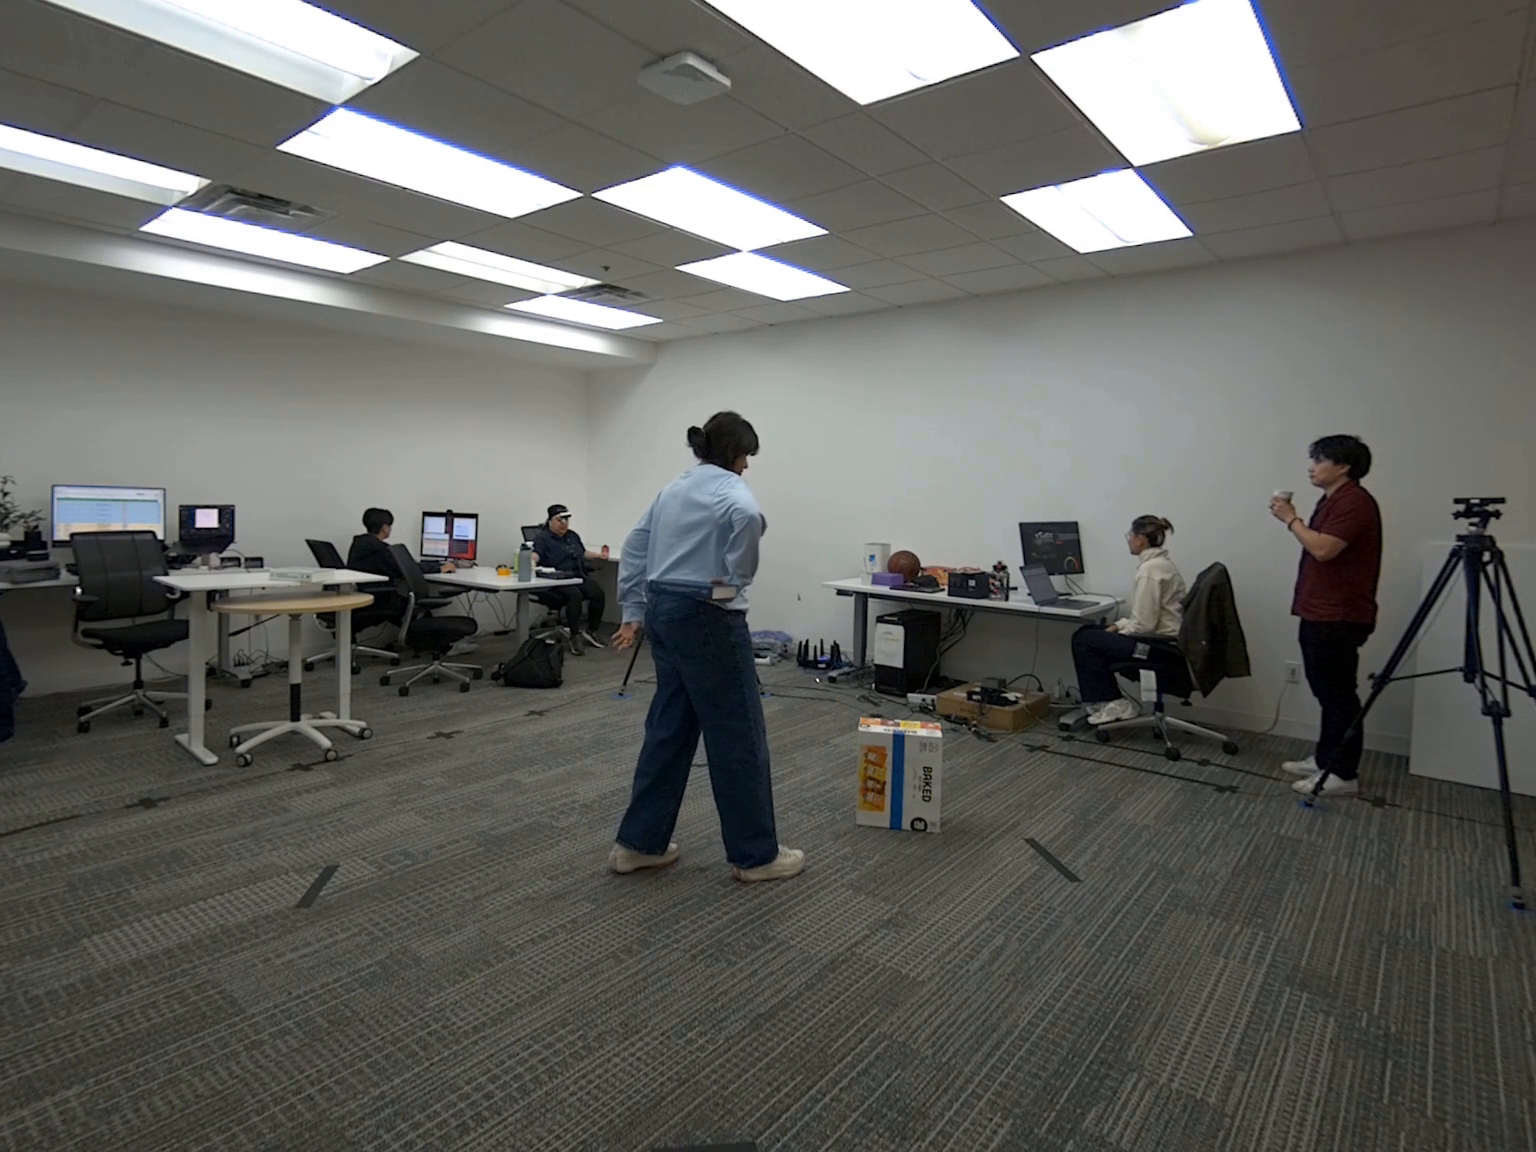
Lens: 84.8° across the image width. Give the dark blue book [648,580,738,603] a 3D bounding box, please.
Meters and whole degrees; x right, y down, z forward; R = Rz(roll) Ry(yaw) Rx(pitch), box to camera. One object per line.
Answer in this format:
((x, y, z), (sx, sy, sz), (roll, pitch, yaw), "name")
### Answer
((-0.251, 0.035, 2.780), (0.252, 0.045, 0.159), (5, 2, 28), "dark blue book")
